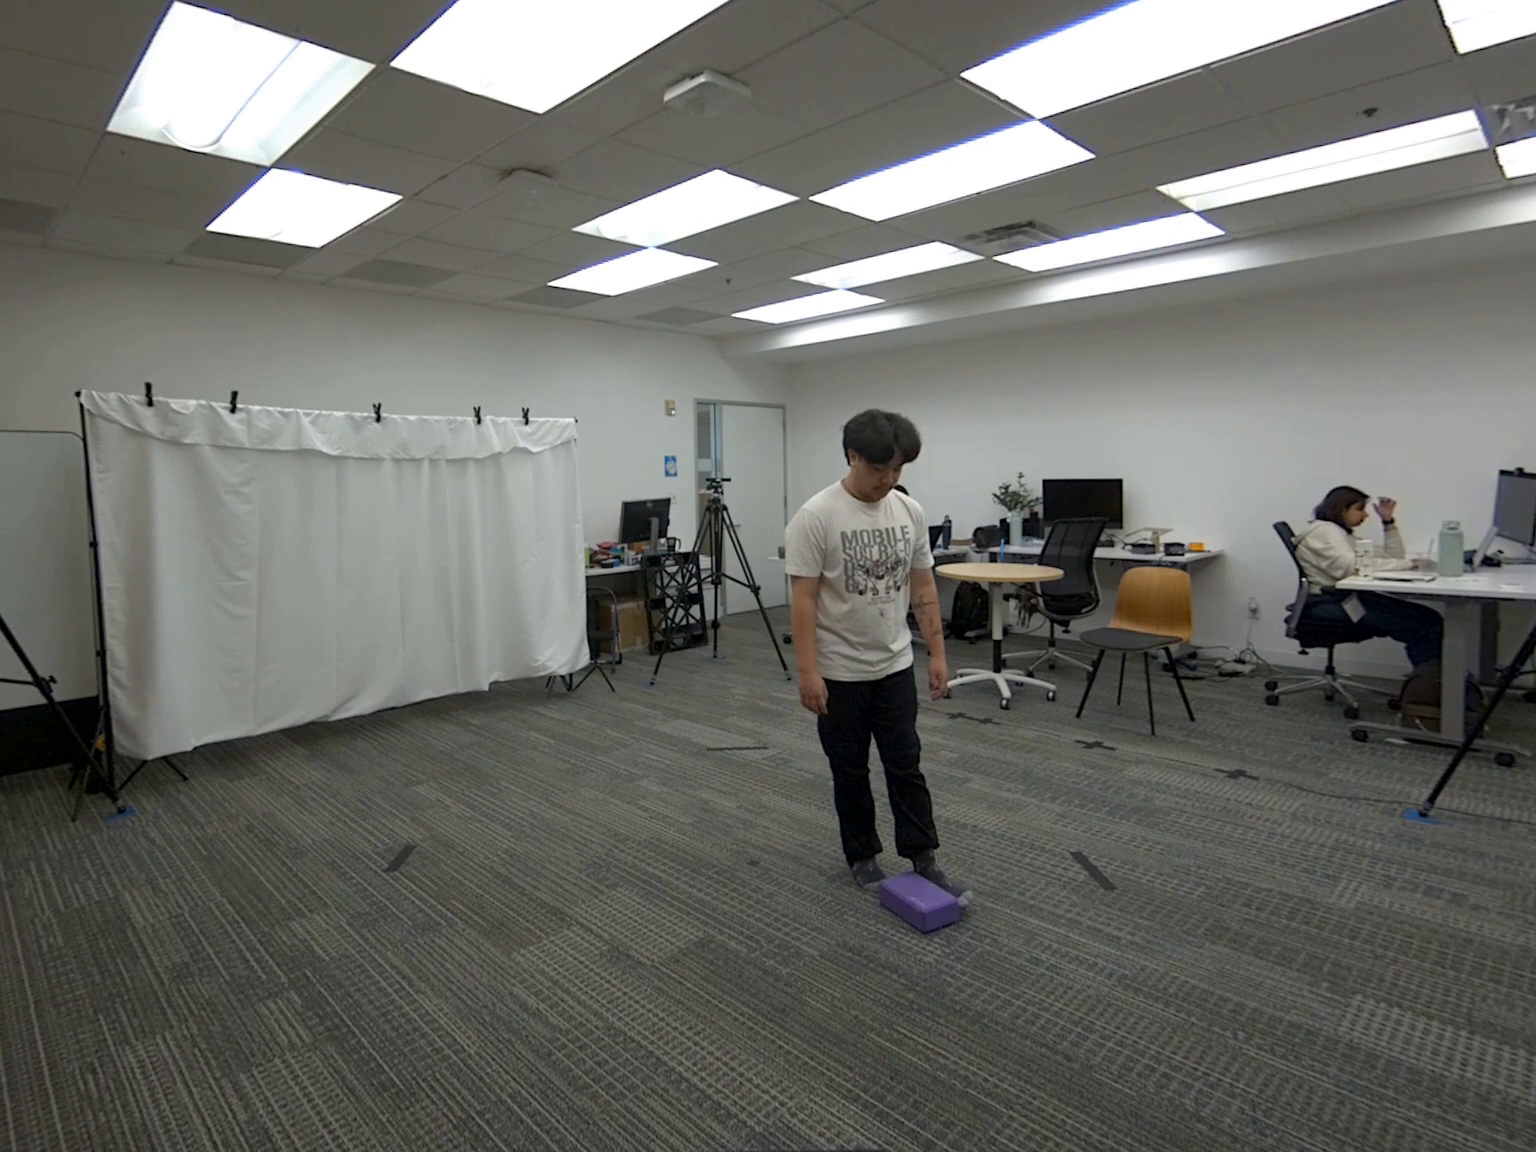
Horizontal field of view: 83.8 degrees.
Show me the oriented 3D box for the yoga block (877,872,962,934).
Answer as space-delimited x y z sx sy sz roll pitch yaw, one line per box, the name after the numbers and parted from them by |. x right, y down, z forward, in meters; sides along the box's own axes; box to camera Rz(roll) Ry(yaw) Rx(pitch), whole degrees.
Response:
0.477 1.037 2.727 0.146 0.076 0.235 -8 9 -28 | yoga block
